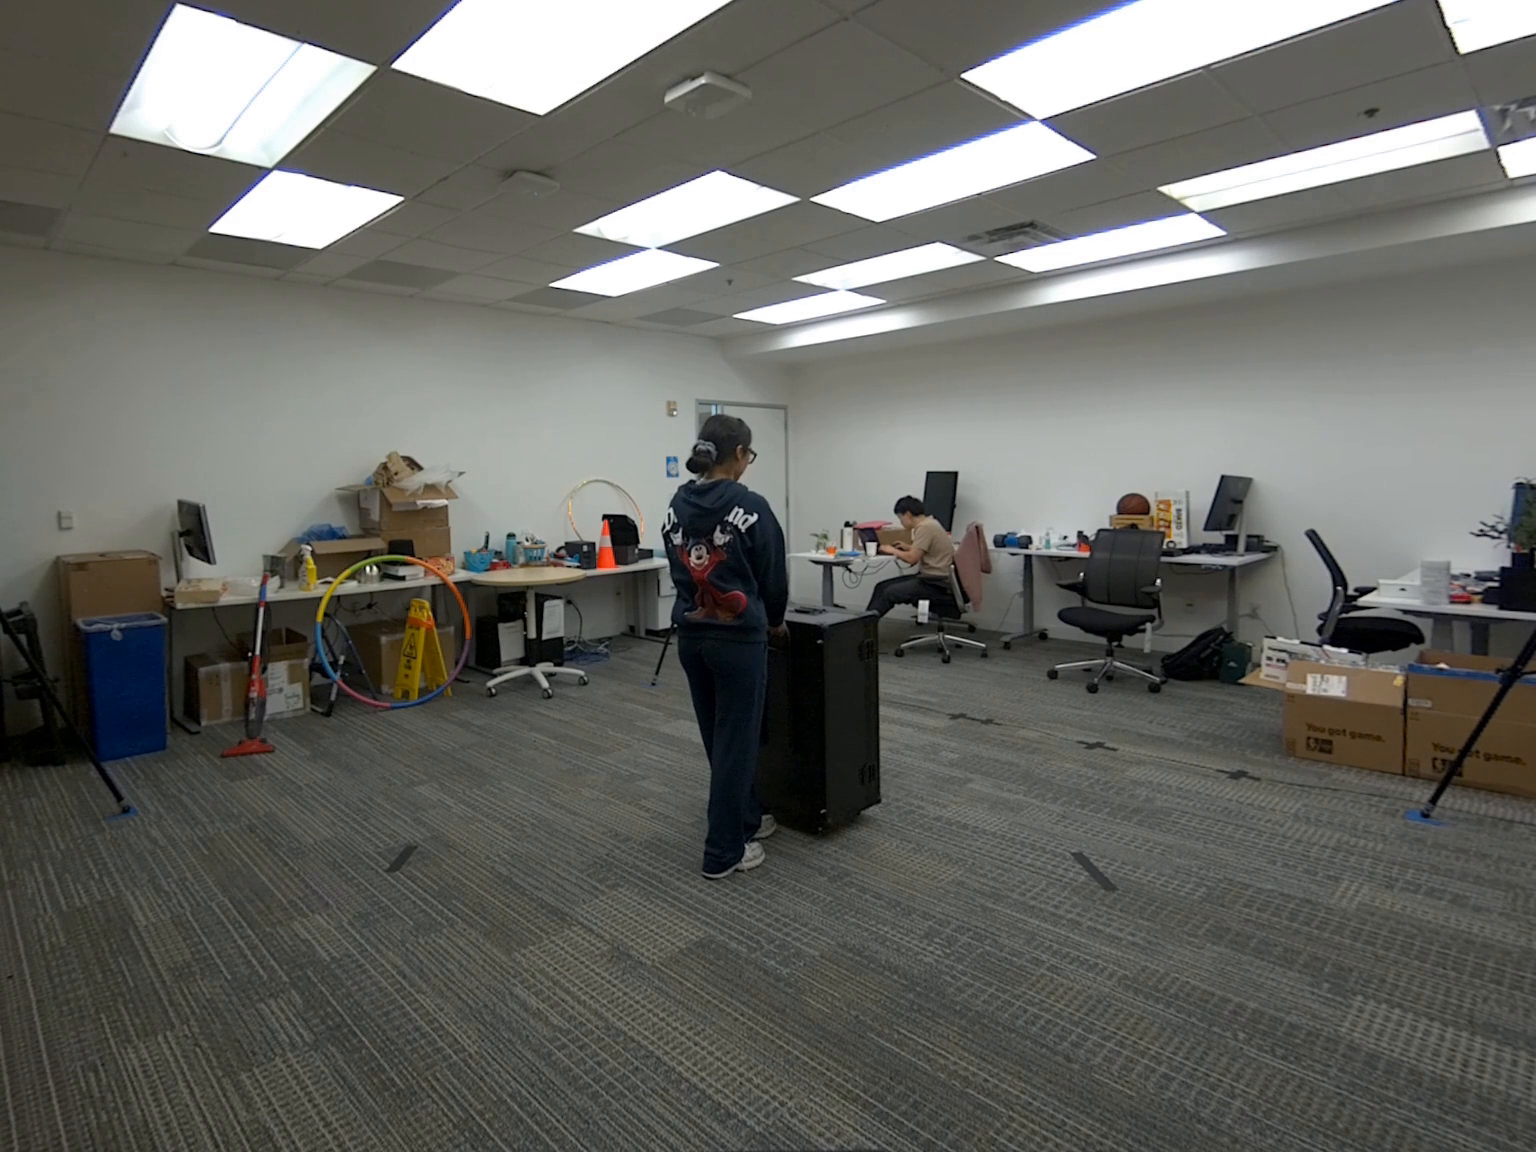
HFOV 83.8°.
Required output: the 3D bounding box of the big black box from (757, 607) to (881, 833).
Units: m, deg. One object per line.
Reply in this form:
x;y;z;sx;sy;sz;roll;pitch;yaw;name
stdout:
0.159;0.577;3.493;0.537;0.857;0.386;3;8;44;big black box
